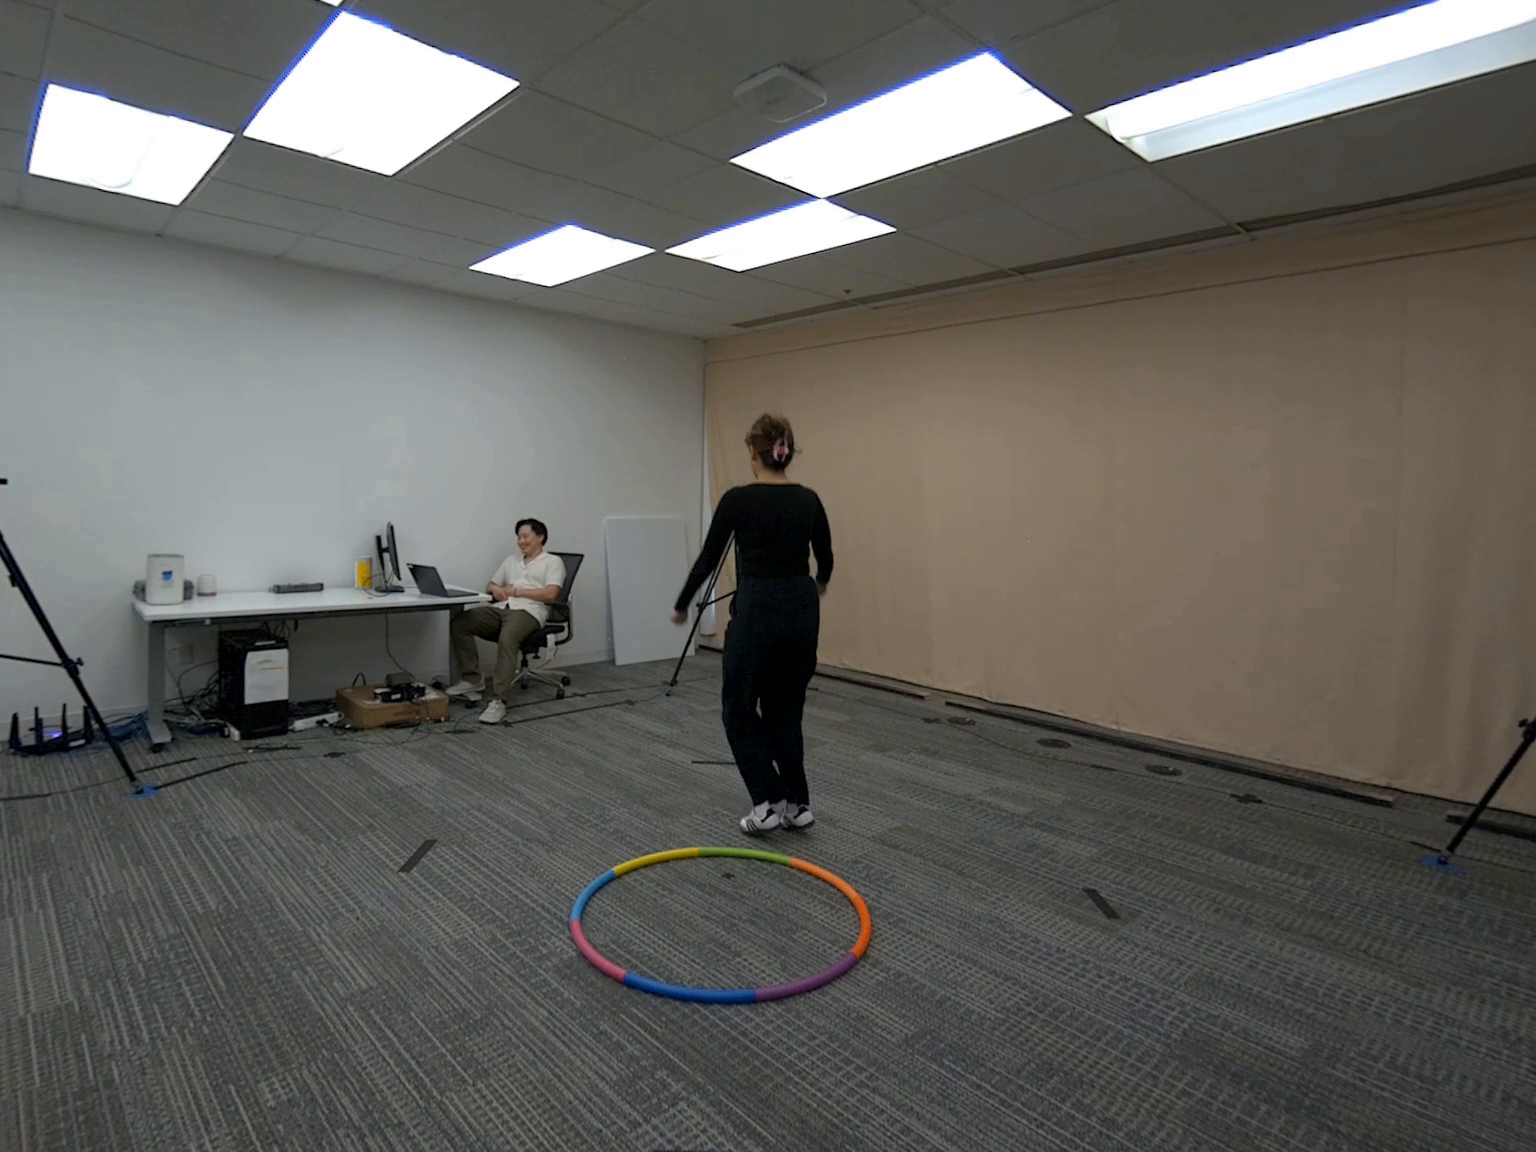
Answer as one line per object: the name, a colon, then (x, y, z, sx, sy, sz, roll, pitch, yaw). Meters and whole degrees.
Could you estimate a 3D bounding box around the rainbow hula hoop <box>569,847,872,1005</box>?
rainbow hula hoop: (-0.163, 1.105, 2.799, 0.978, 0.035, 0.982, 1, 5, -1)
